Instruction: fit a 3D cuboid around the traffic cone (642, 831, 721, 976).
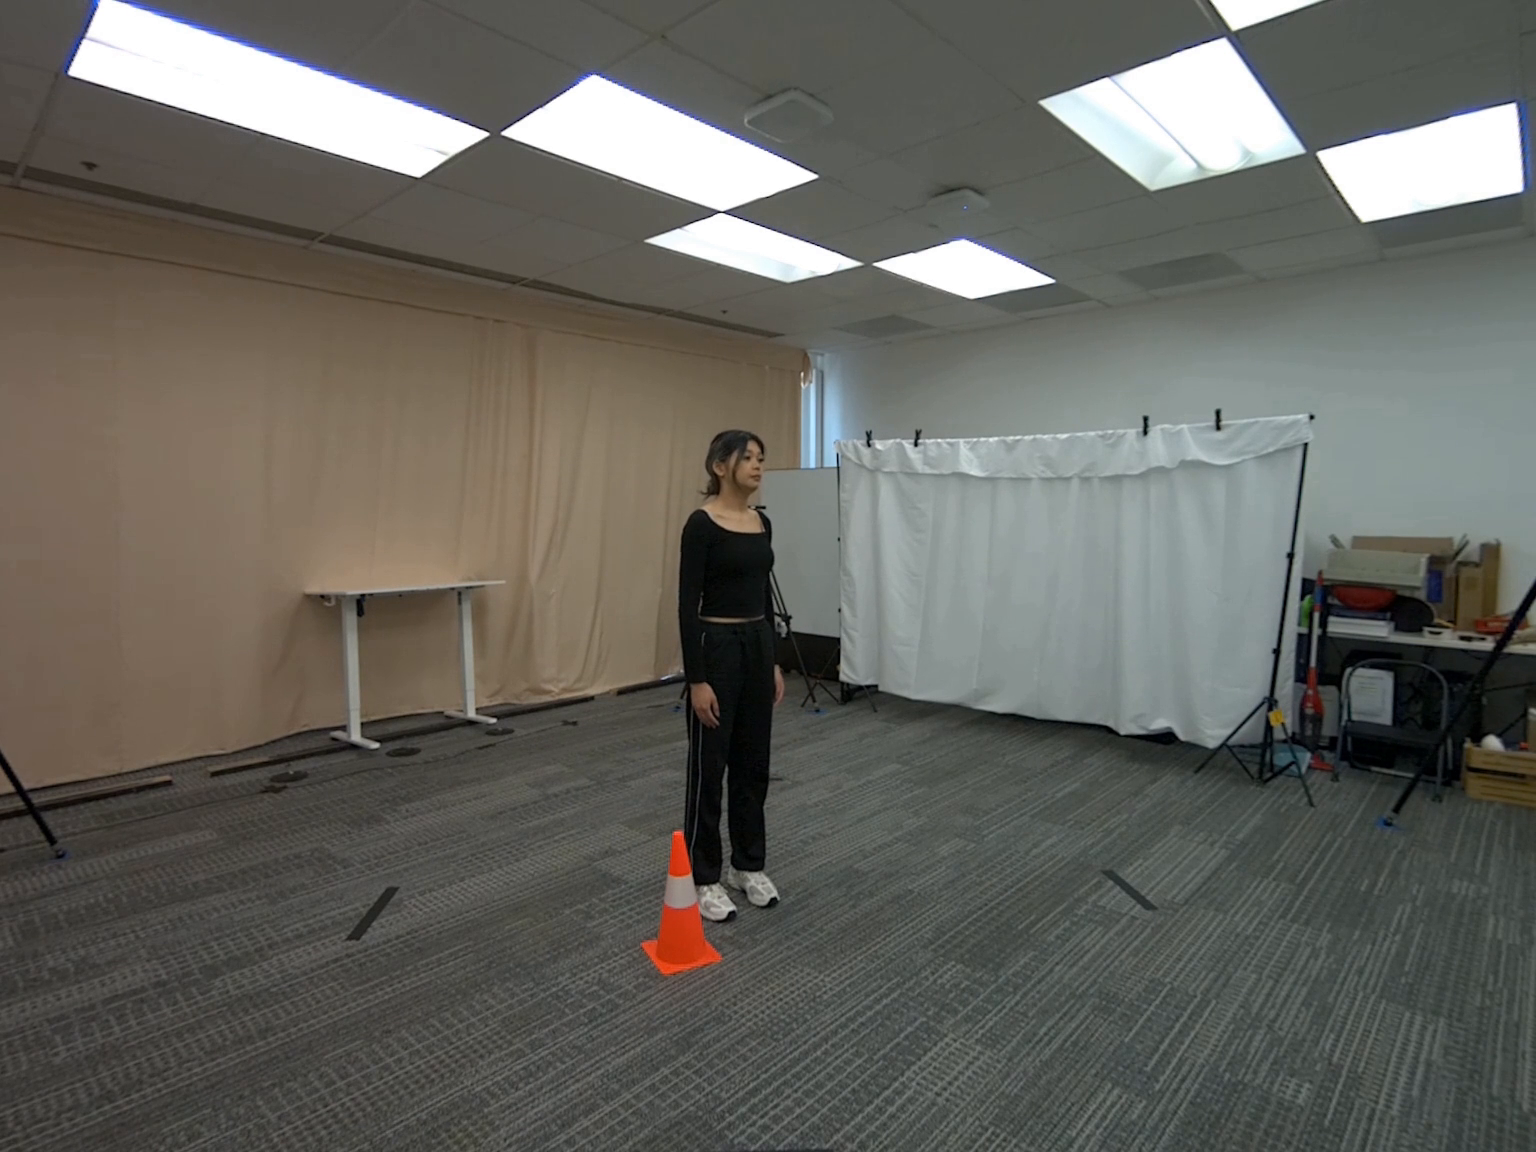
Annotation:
[{"bbox_3d":[-0.271,0.985,2.626,0.198,0.383,0.211,-2,2,-29],"label":"traffic cone"}]
